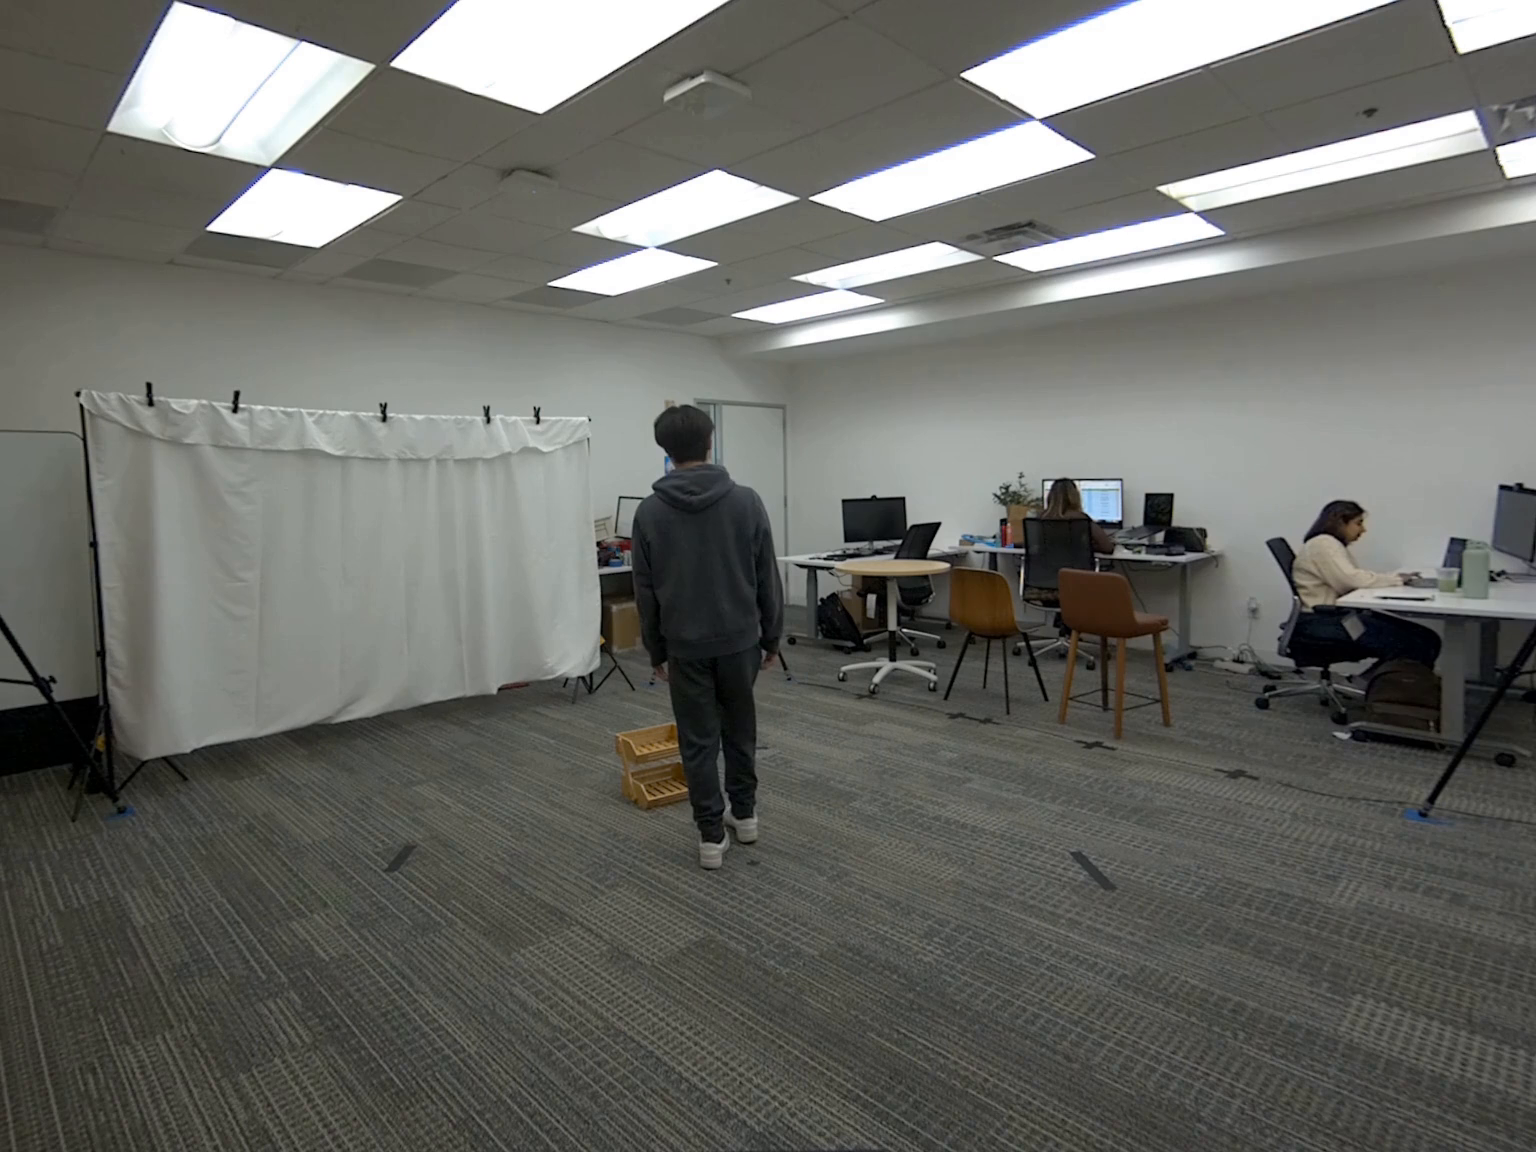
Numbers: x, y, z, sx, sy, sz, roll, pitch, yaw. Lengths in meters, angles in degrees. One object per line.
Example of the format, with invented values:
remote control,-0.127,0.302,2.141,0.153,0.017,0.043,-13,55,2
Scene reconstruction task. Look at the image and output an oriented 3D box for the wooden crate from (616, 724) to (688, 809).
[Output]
wooden crate,-0.476,0.834,3.816,0.316,0.272,0.311,-4,5,-35
